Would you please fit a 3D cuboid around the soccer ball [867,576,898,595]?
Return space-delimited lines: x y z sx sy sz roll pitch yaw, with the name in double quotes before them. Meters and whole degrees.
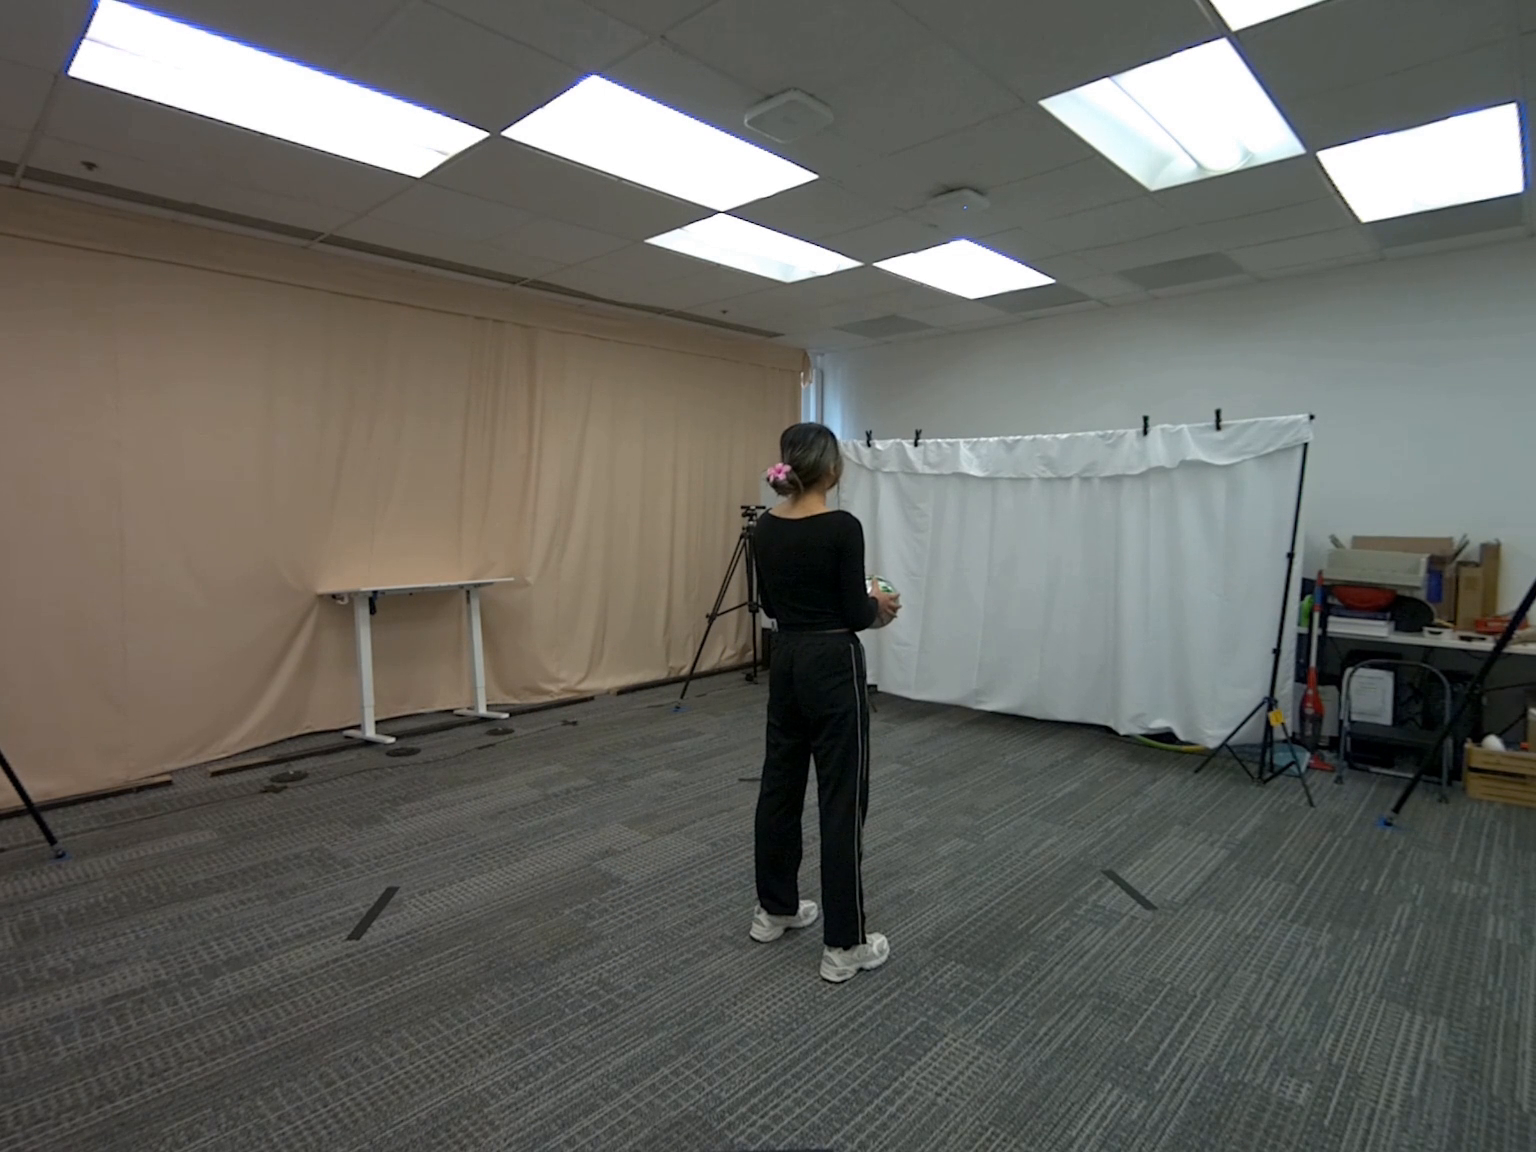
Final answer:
"soccer ball" 0.360 0.081 2.907 0.187 0.187 0.188 0 4 -2
